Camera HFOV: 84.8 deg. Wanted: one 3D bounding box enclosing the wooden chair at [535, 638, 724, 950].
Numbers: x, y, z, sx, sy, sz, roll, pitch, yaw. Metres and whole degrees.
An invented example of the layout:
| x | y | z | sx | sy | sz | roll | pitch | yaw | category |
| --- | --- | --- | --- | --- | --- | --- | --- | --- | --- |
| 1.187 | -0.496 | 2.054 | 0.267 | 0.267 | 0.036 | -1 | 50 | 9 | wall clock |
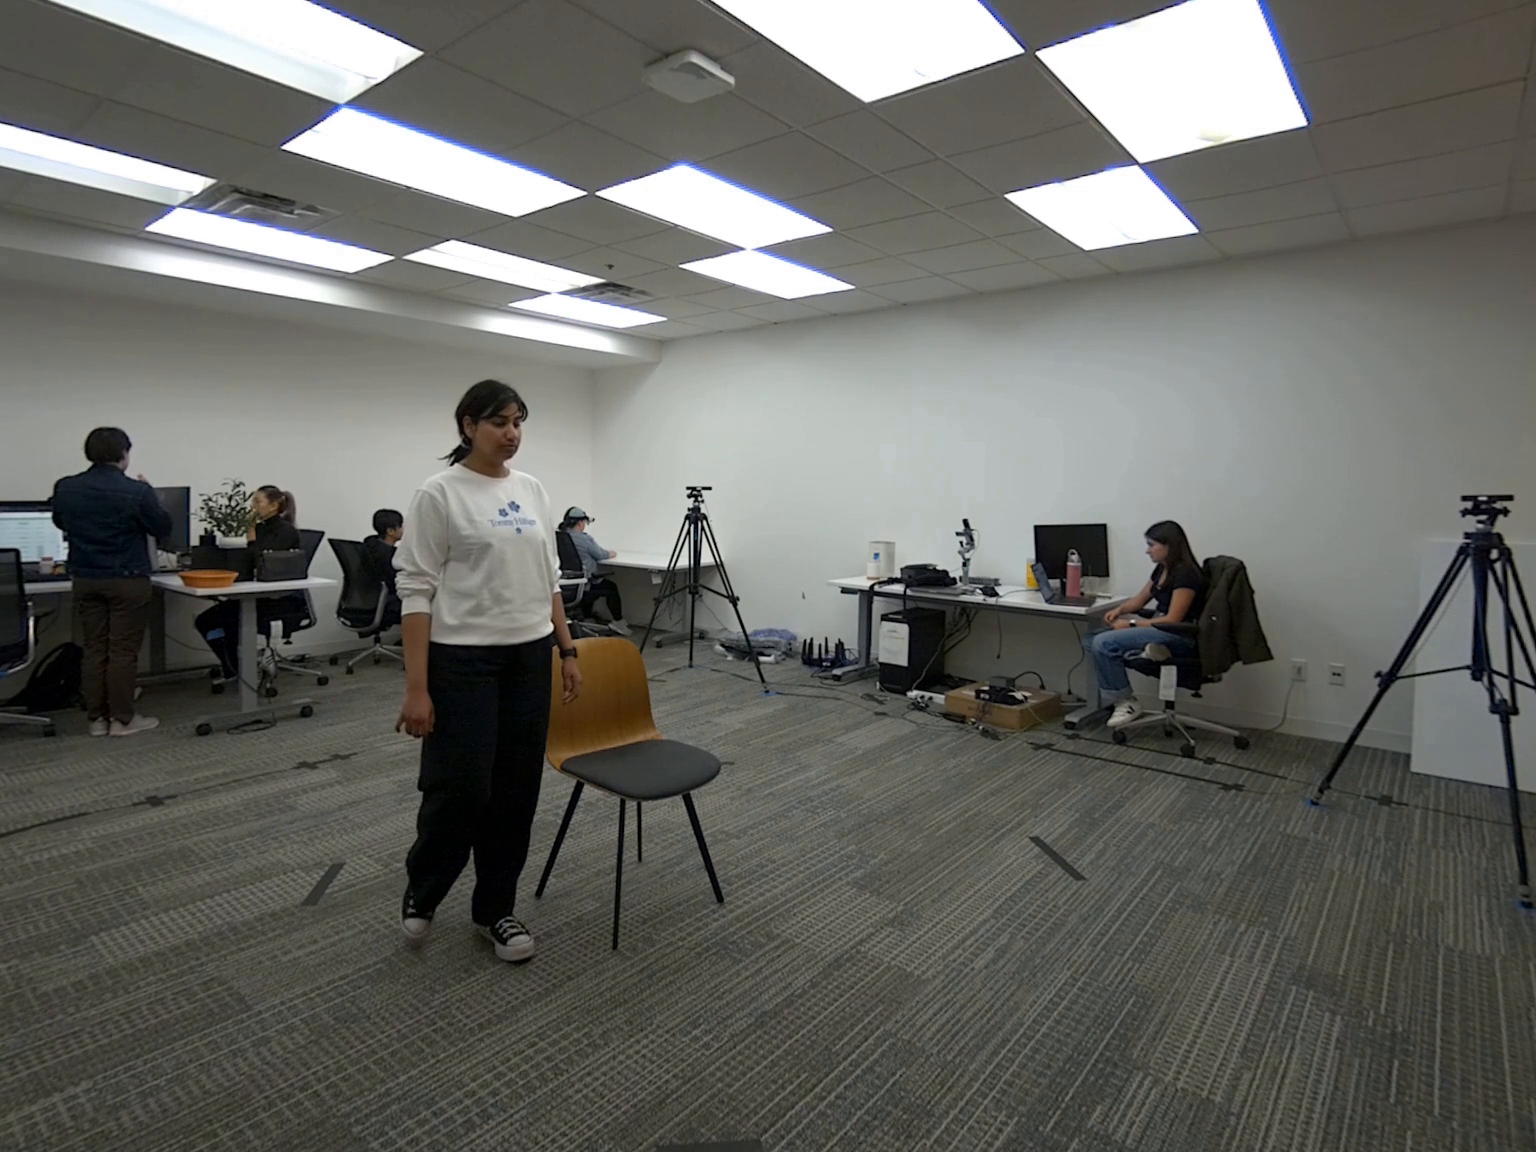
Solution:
| x | y | z | sx | sy | sz | roll | pitch | yaw | category |
| --- | --- | --- | --- | --- | --- | --- | --- | --- | --- |
| -0.450 | 0.660 | 2.830 | 0.539 | 0.878 | 0.463 | -2 | 0 | 44 | wooden chair |
